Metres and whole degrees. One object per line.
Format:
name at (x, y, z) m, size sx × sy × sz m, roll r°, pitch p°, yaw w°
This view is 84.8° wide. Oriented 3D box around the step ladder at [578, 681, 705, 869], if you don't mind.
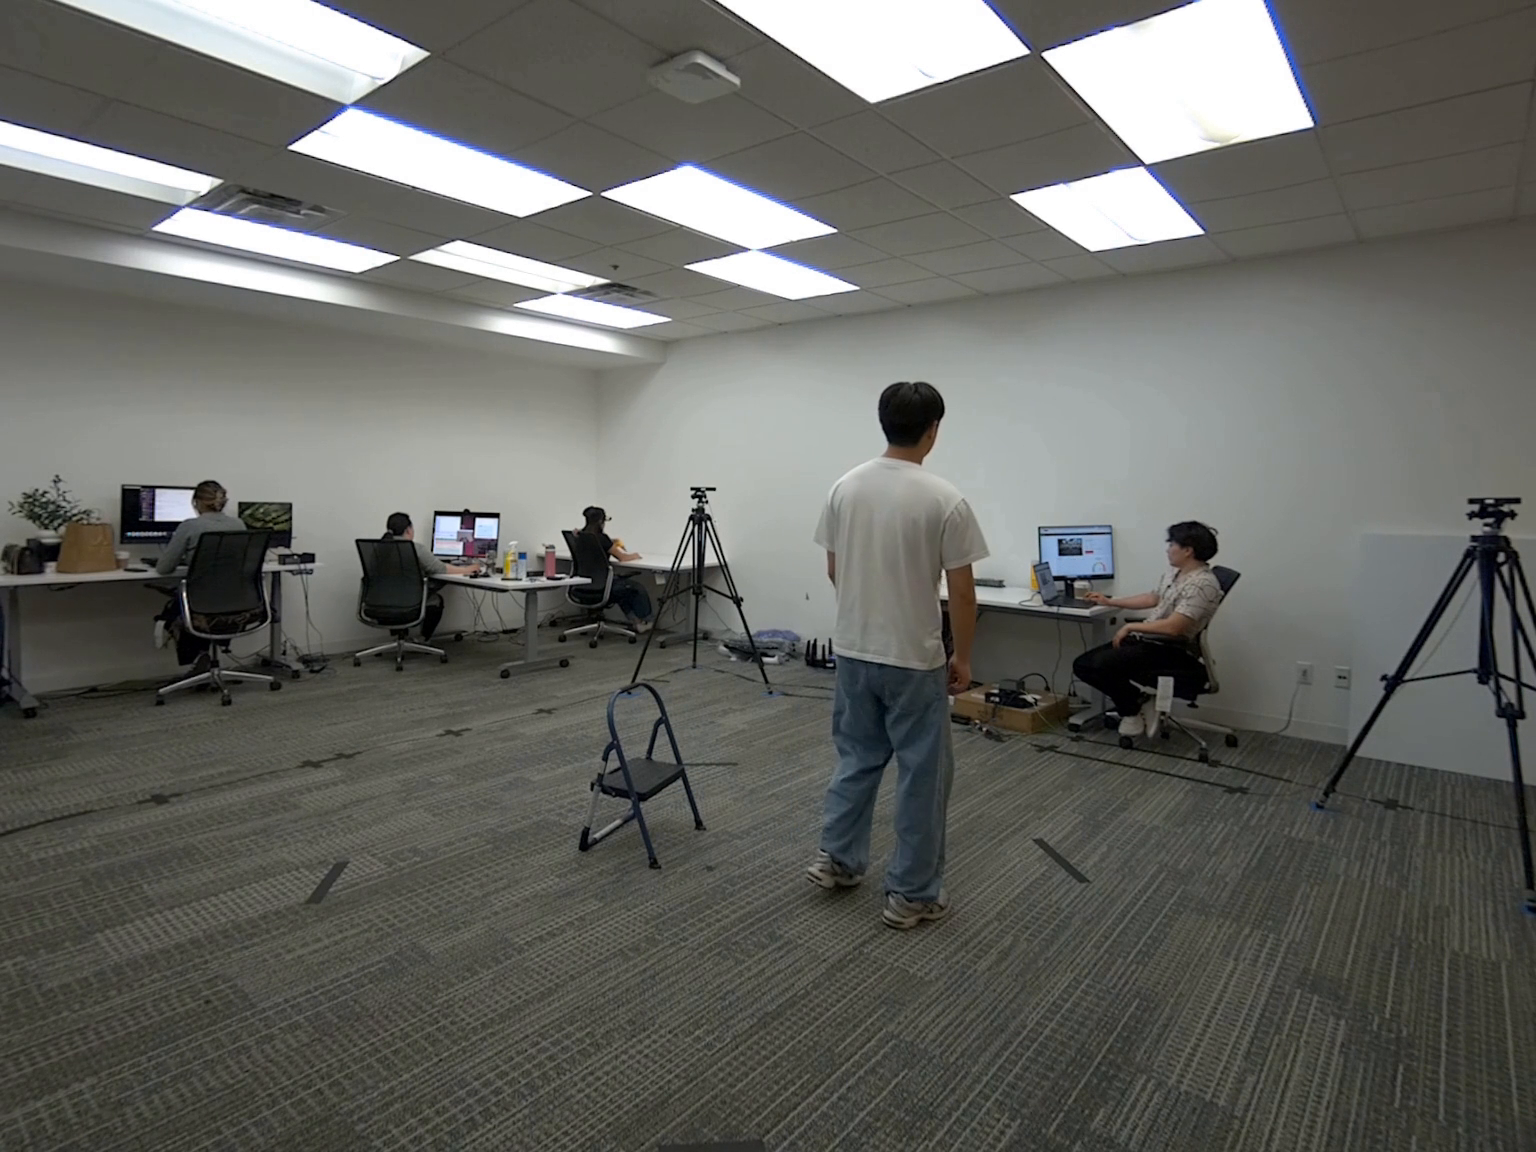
step ladder at (-0.493, 0.735, 3.341) m, size 0.358 × 0.604 × 0.422 m, roll 3°, pitch 4°, yaw 22°
